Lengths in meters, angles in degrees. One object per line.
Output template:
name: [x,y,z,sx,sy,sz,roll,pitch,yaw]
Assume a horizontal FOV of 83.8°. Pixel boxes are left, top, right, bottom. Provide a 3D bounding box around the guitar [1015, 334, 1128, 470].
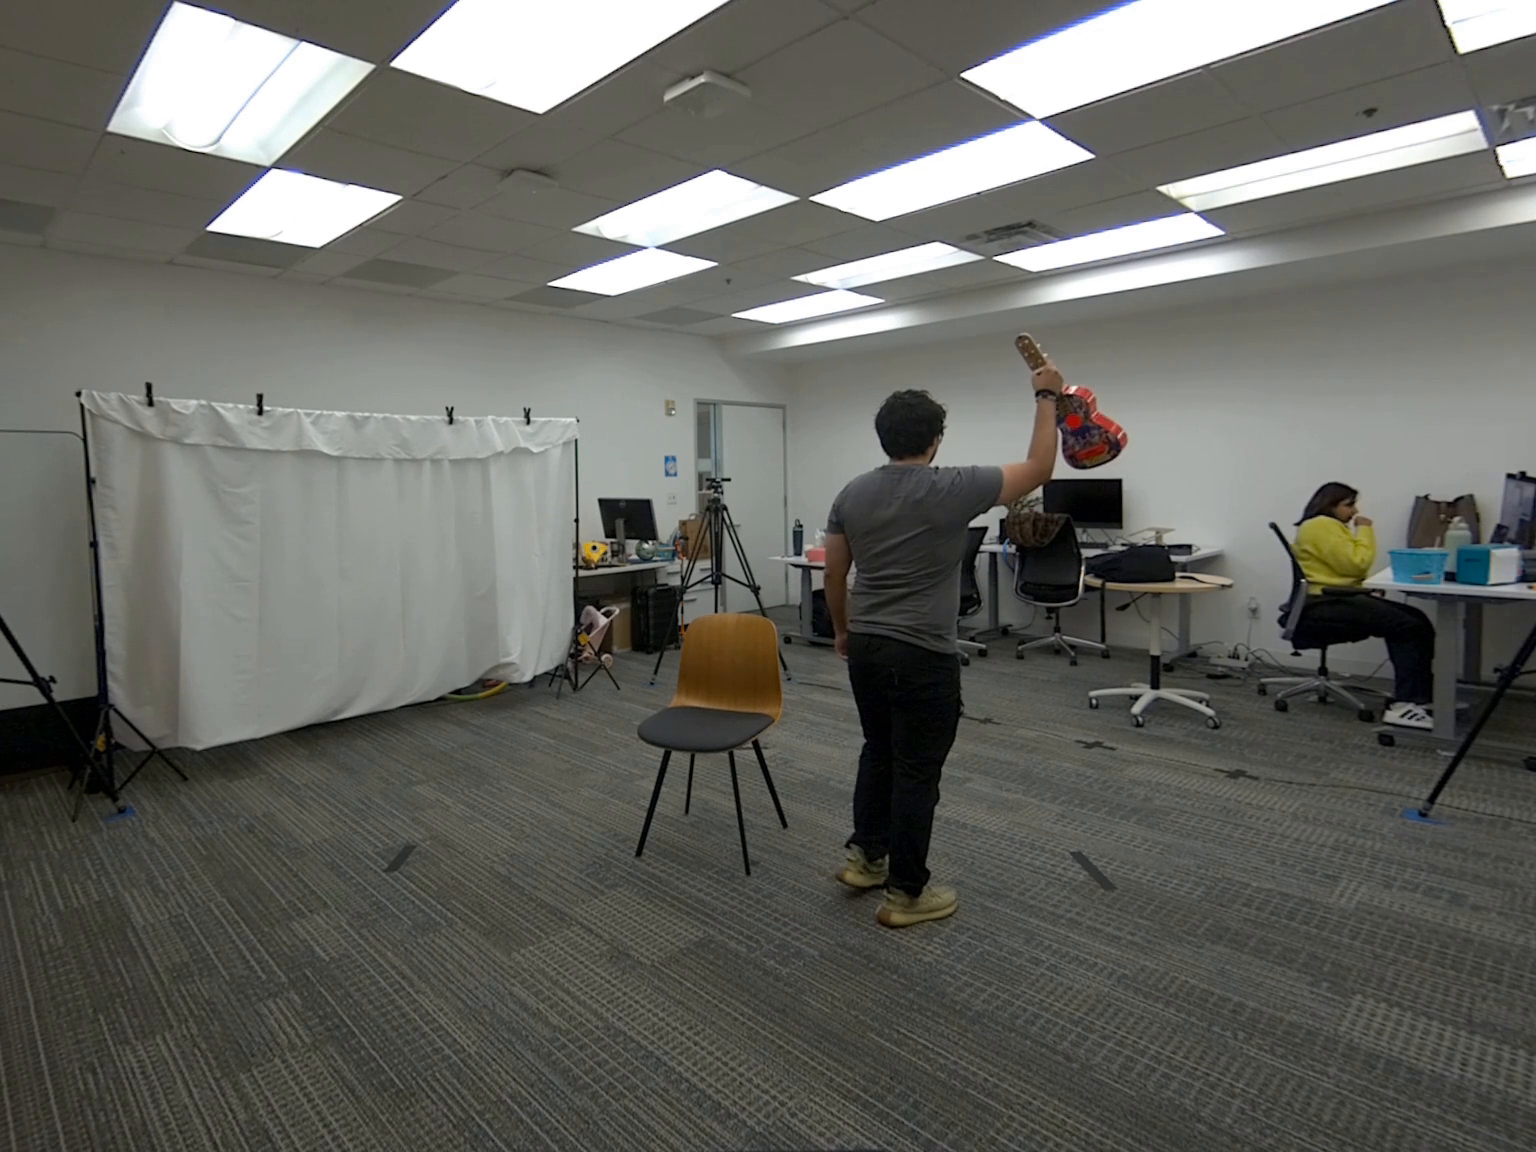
guitar: [0.964,-0.562,2.725,0.197,0.489,0.070,-11,22,47]
